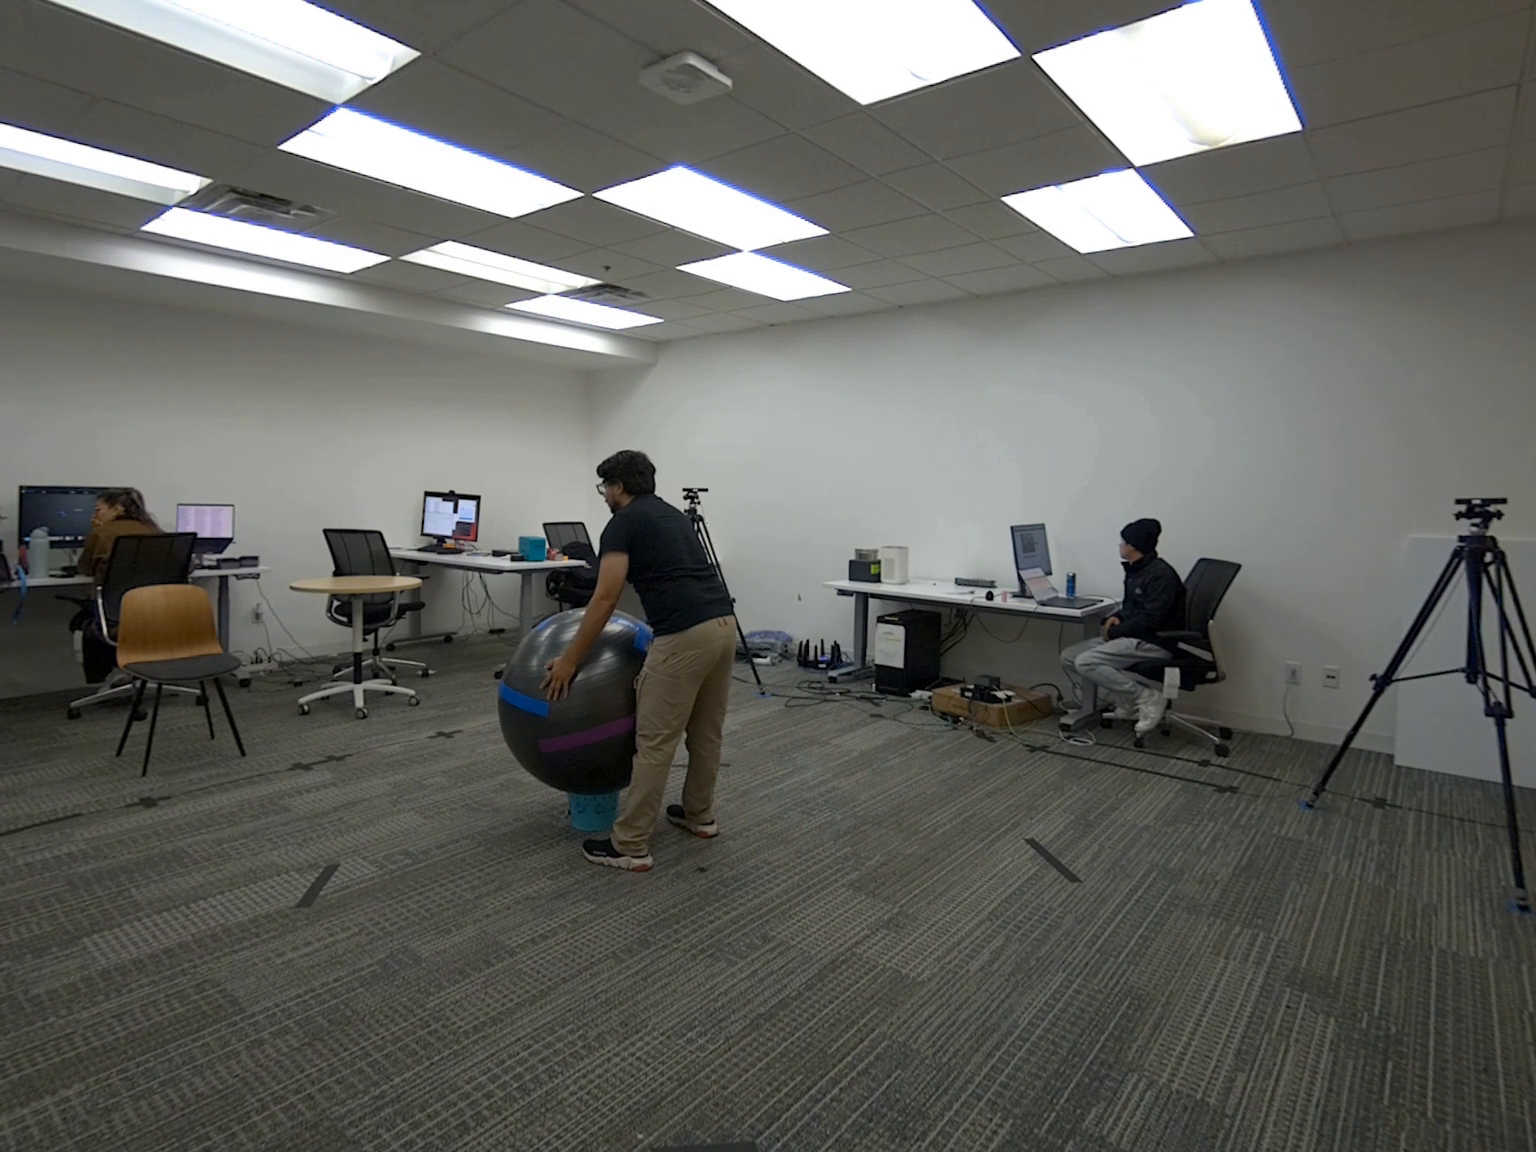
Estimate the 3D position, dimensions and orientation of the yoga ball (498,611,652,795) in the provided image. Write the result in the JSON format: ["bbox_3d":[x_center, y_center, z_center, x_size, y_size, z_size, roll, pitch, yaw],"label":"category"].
[{"bbox_3d":[-0.747,0.516,3.515,0.757,0.756,0.761,1,4,-2],"label":"yoga ball"}]
